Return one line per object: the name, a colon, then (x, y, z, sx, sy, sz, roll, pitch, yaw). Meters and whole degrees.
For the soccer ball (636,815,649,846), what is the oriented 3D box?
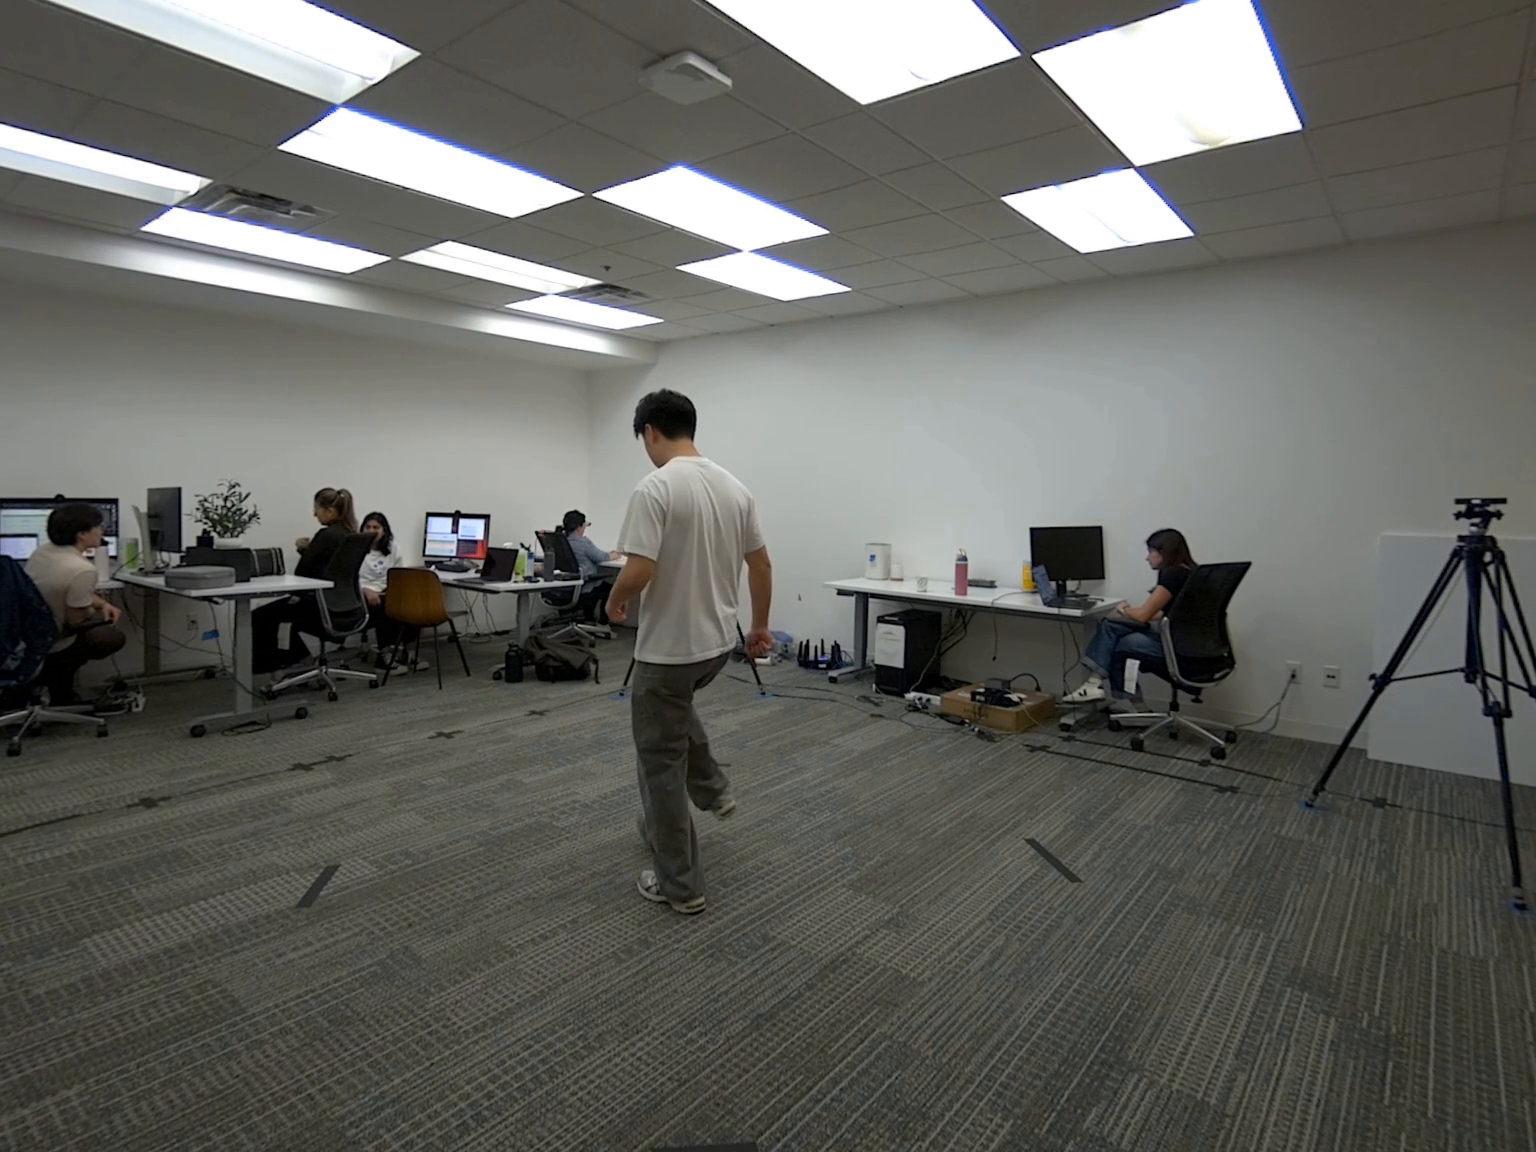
soccer ball: (-0.432, 0.940, 3.302, 0.187, 0.187, 0.188, 1, 4, -2)
